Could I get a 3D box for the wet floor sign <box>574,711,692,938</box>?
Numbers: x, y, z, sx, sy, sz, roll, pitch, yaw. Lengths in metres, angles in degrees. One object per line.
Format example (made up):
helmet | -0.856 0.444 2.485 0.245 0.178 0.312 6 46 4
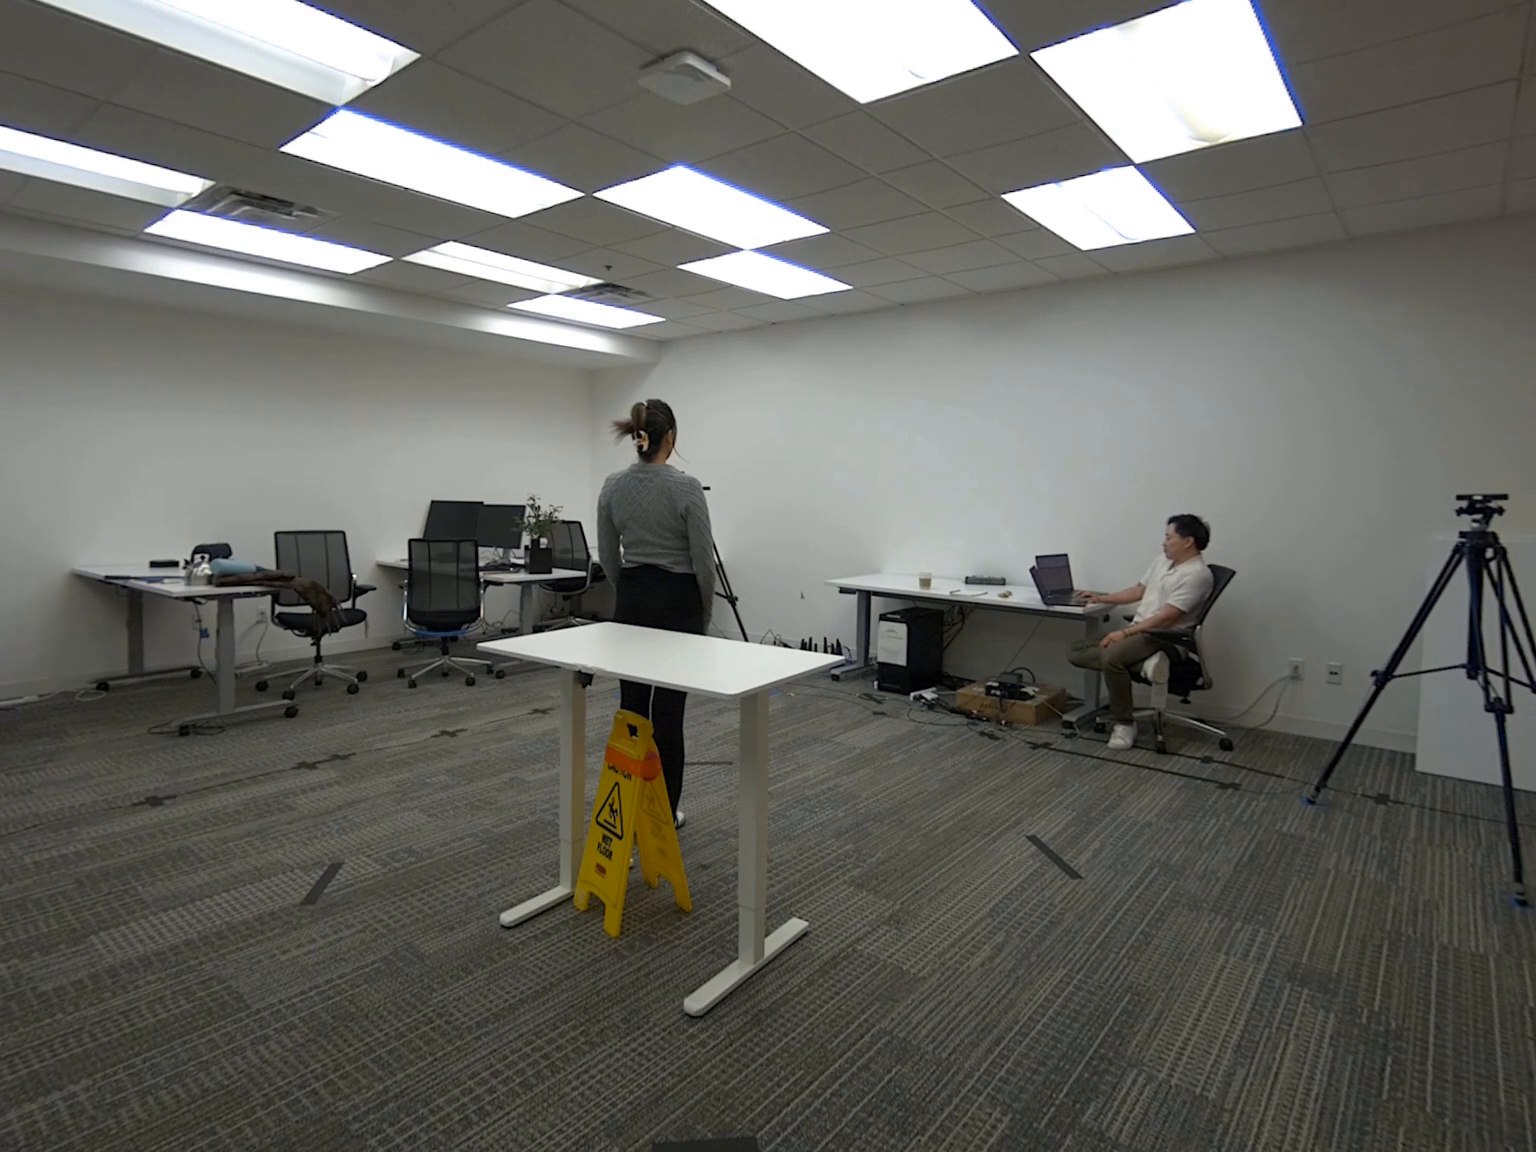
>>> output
wet floor sign | -0.453 0.771 2.783 0.281 0.644 0.291 -3 4 -39
